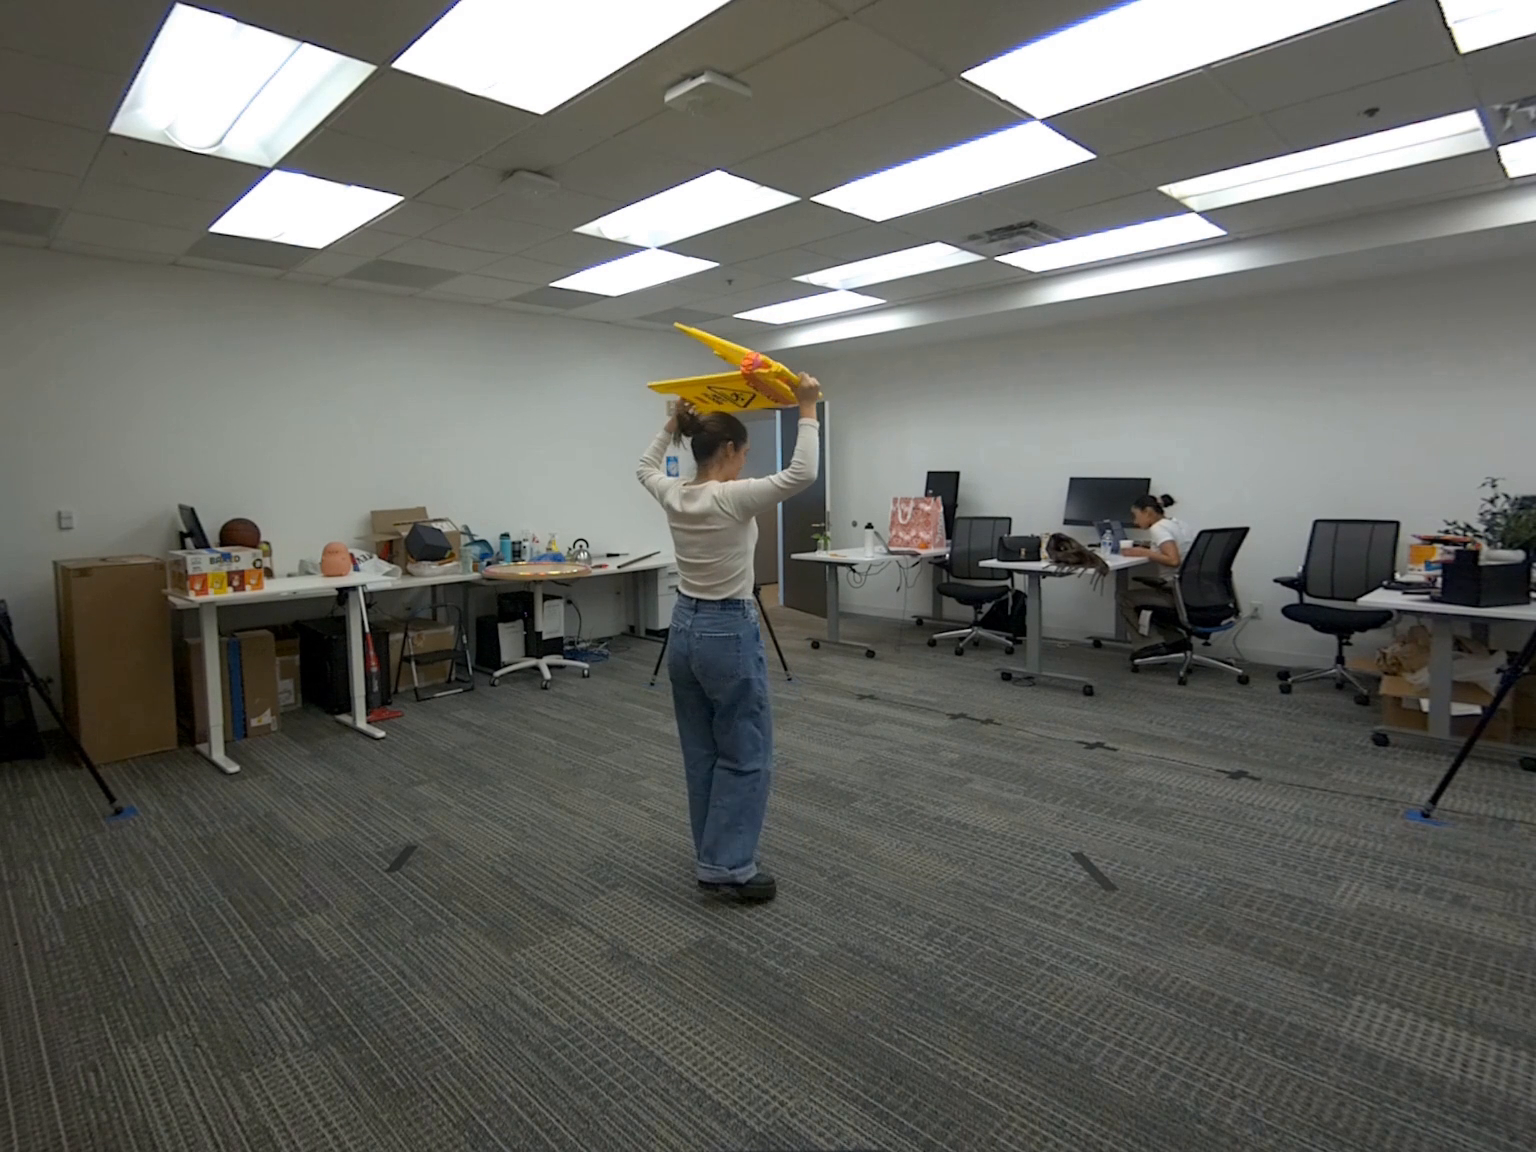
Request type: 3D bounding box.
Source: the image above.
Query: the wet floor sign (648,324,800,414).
[{"bbox_3d":[-0.088,-0.682,2.909,0.272,0.290,0.669,25,-4,-41],"label":"wet floor sign"}]
